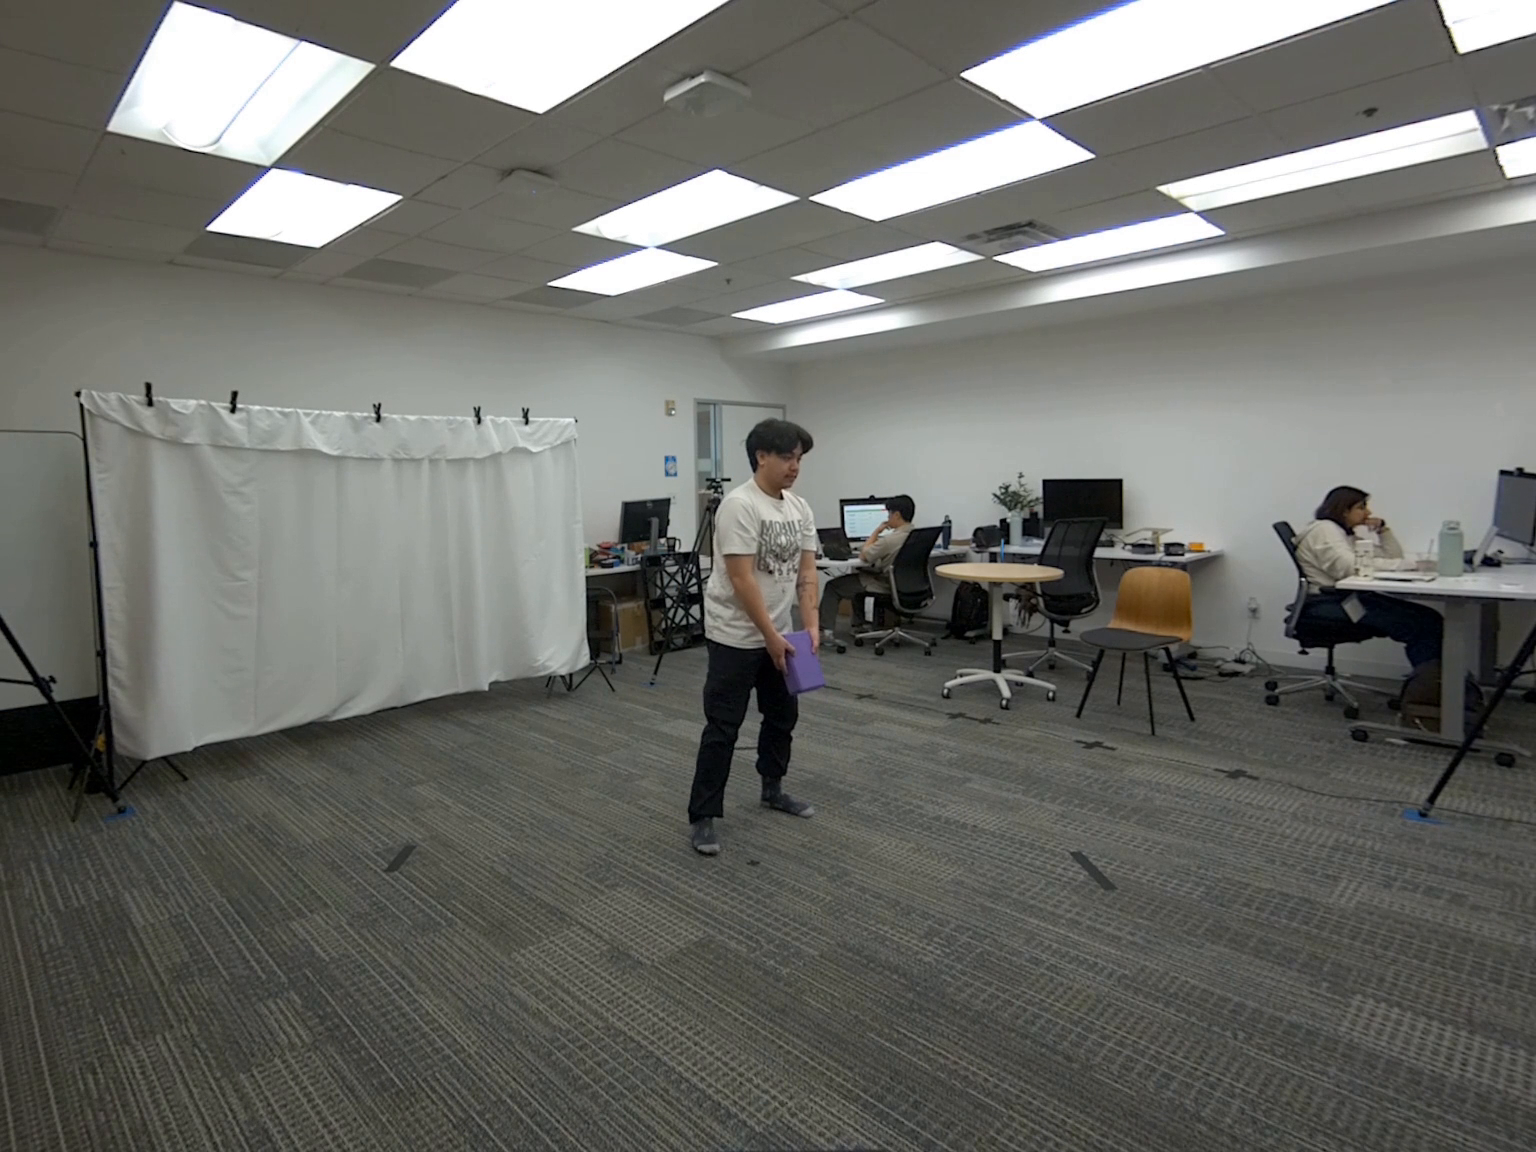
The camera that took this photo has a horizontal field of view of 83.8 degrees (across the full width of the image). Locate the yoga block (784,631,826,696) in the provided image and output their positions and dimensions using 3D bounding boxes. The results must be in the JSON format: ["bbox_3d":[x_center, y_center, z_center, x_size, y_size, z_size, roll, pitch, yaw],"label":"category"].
[{"bbox_3d":[0.112,0.338,3.329,0.145,0.233,0.077,-3,-17,-41],"label":"yoga block"}]
